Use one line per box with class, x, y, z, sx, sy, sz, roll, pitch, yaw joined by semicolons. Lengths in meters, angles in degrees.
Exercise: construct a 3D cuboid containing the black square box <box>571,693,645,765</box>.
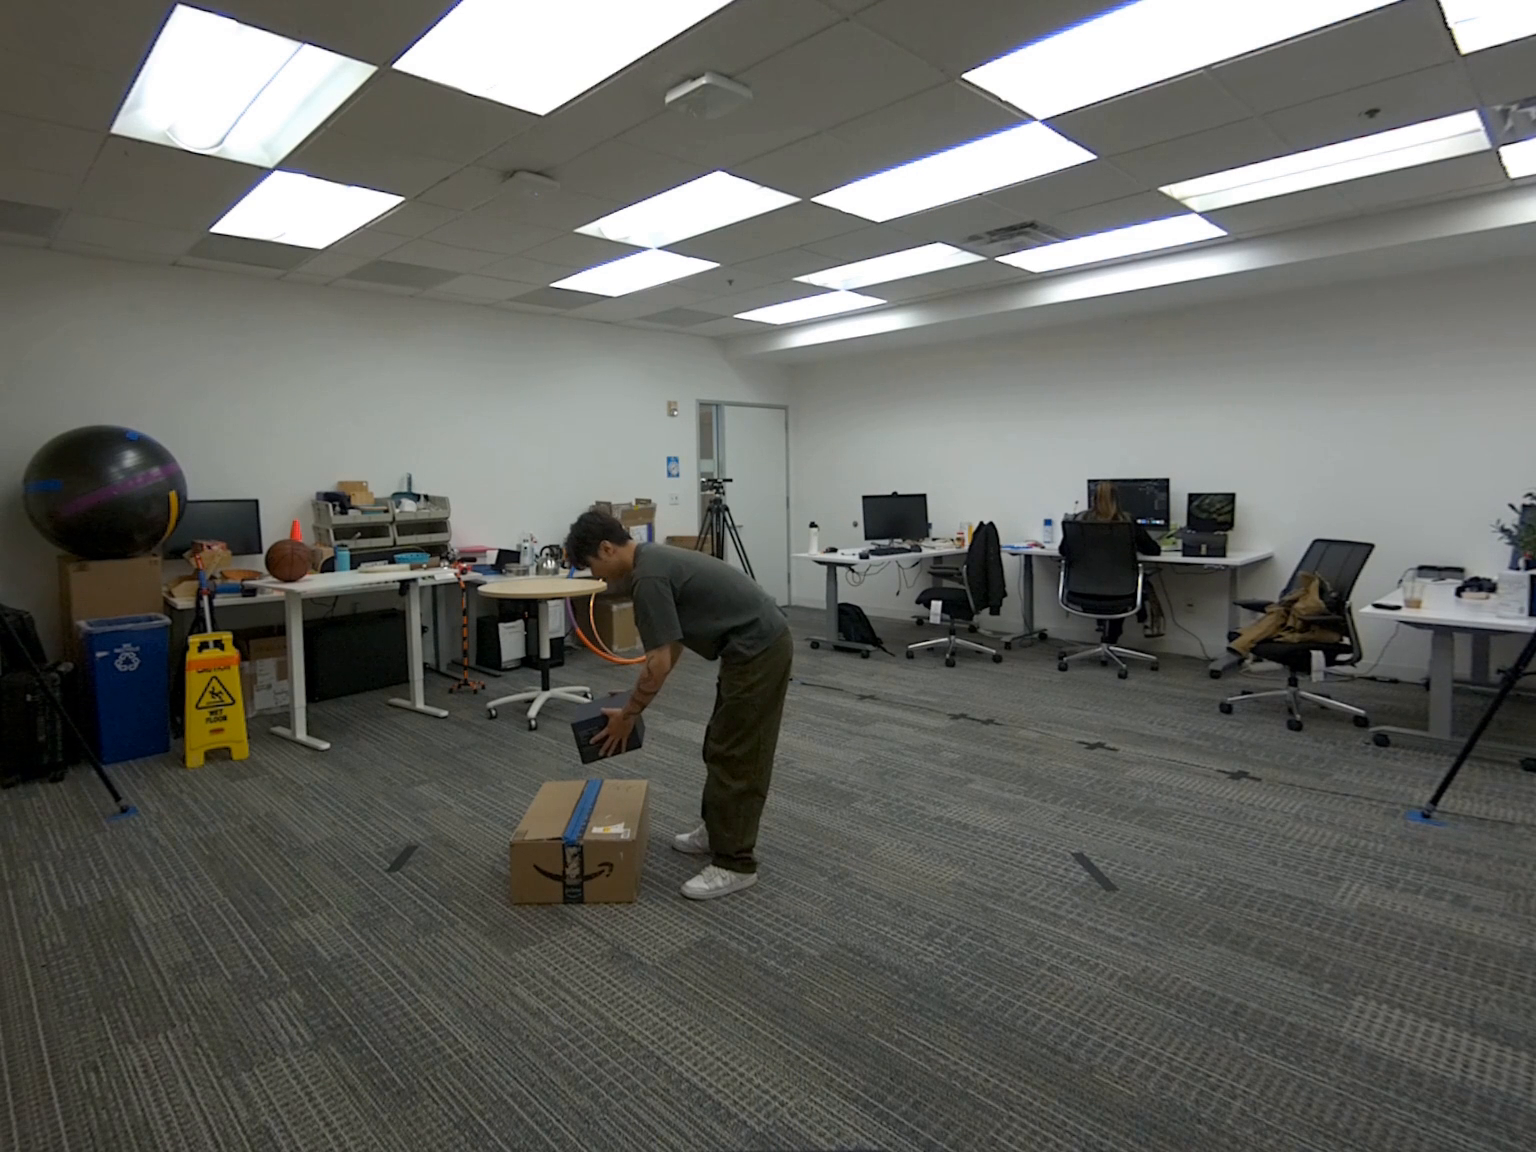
black square box;-0.576;0.537;3.078;0.217;0.154;0.230;-17;10;-2
